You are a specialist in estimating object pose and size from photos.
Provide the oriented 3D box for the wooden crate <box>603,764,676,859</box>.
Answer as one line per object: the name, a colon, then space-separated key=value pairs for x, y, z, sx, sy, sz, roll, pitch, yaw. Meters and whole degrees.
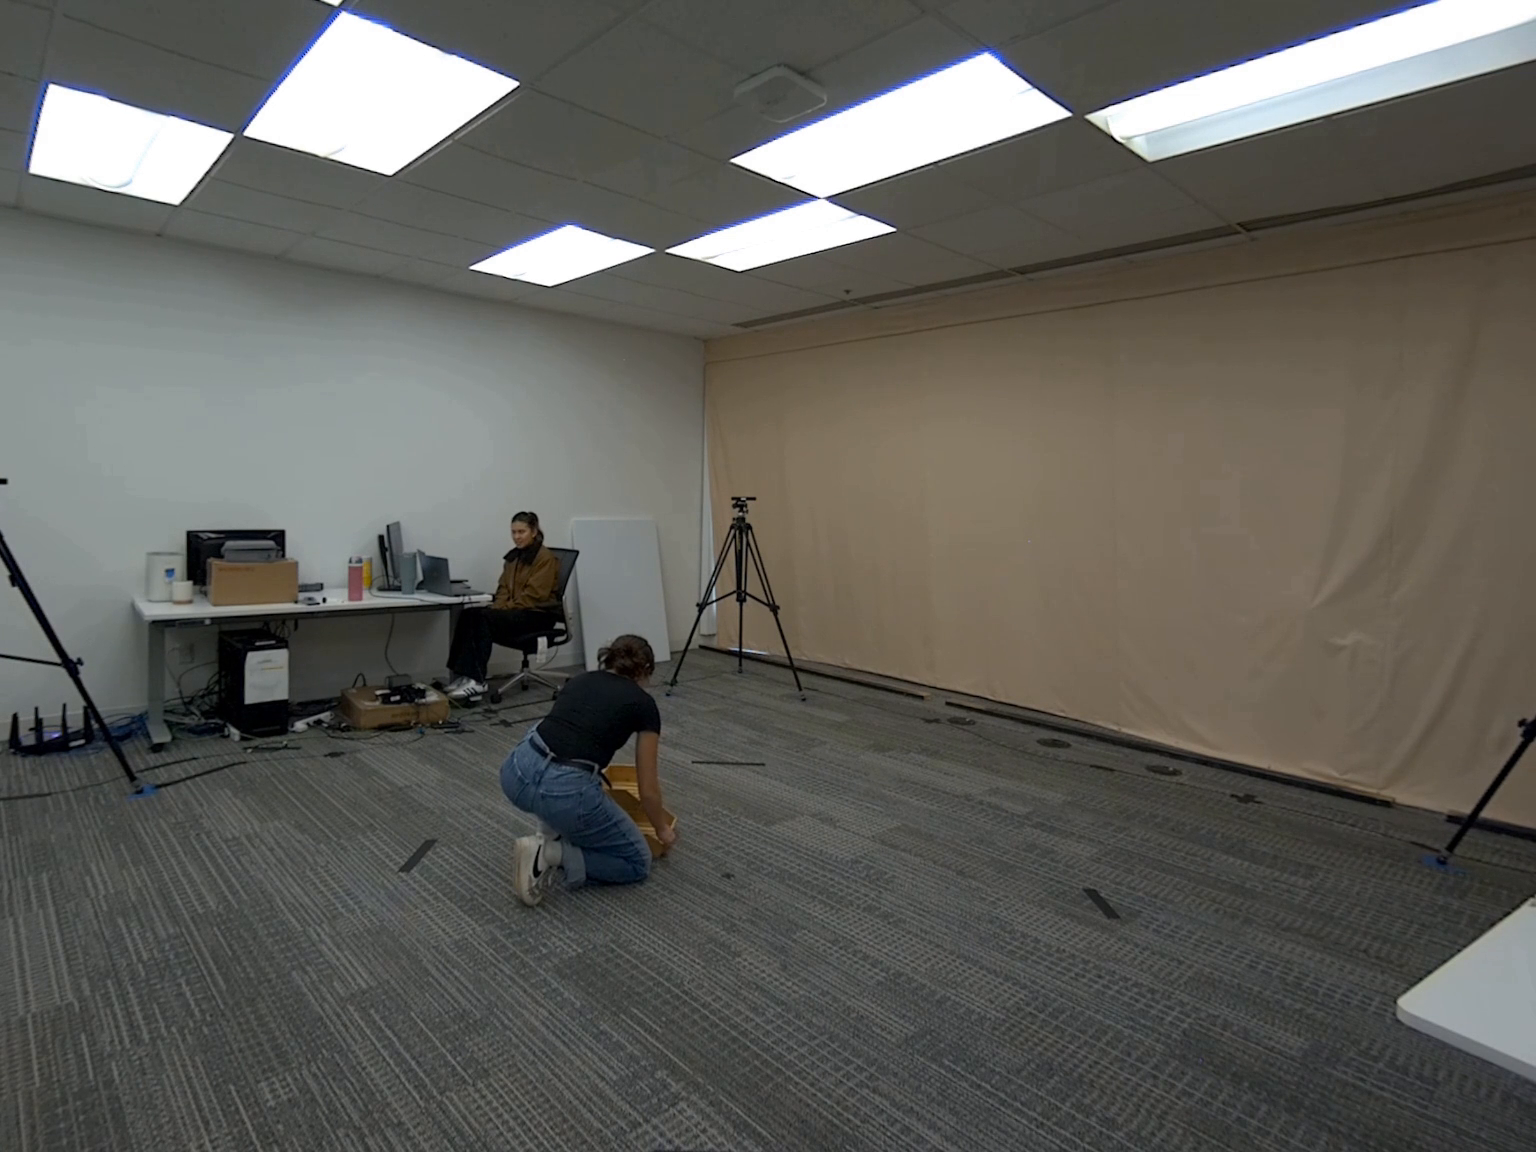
wooden crate: x=-0.538 y=0.936 z=3.401 sx=0.303 sy=0.272 sz=0.324 roll=2 pitch=4 yaw=2
